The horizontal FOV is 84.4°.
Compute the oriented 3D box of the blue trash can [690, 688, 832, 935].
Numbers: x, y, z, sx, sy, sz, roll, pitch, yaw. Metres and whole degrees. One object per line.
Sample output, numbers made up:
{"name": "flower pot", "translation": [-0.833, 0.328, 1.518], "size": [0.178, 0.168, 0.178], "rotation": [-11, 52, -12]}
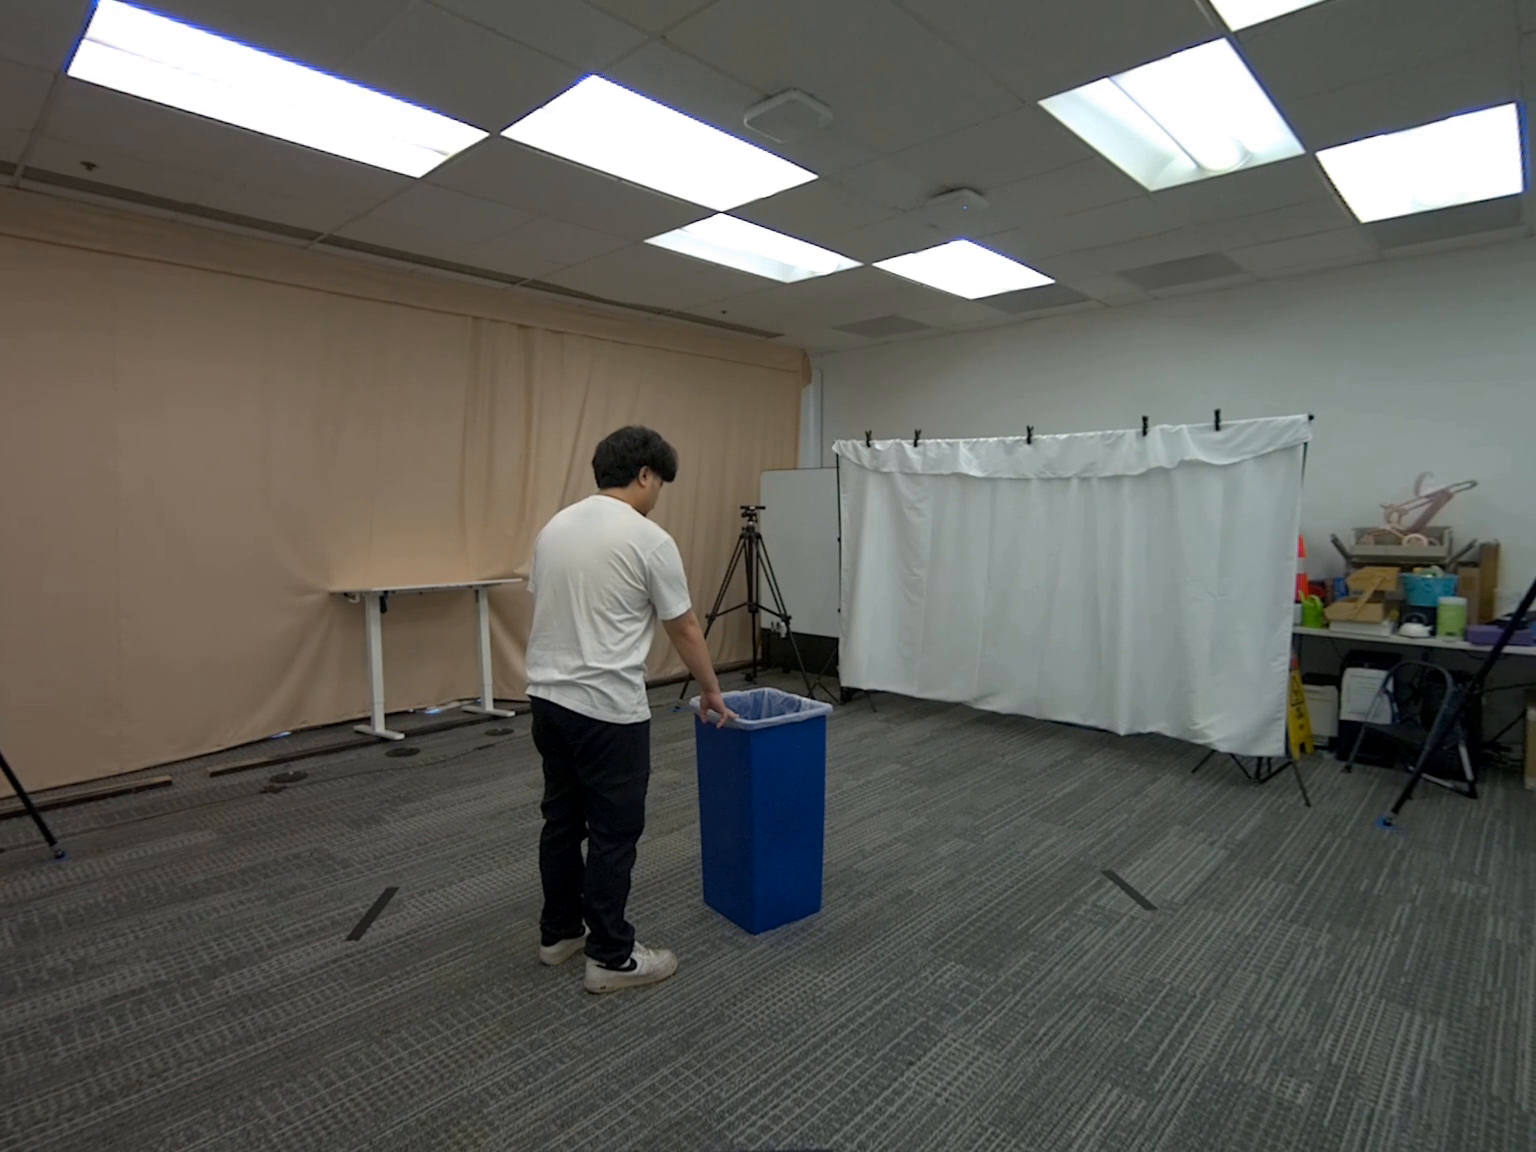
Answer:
{"name": "blue trash can", "translation": [-0.026, 0.793, 2.907], "size": [0.363, 0.712, 0.390], "rotation": [-2, 4, -37]}
